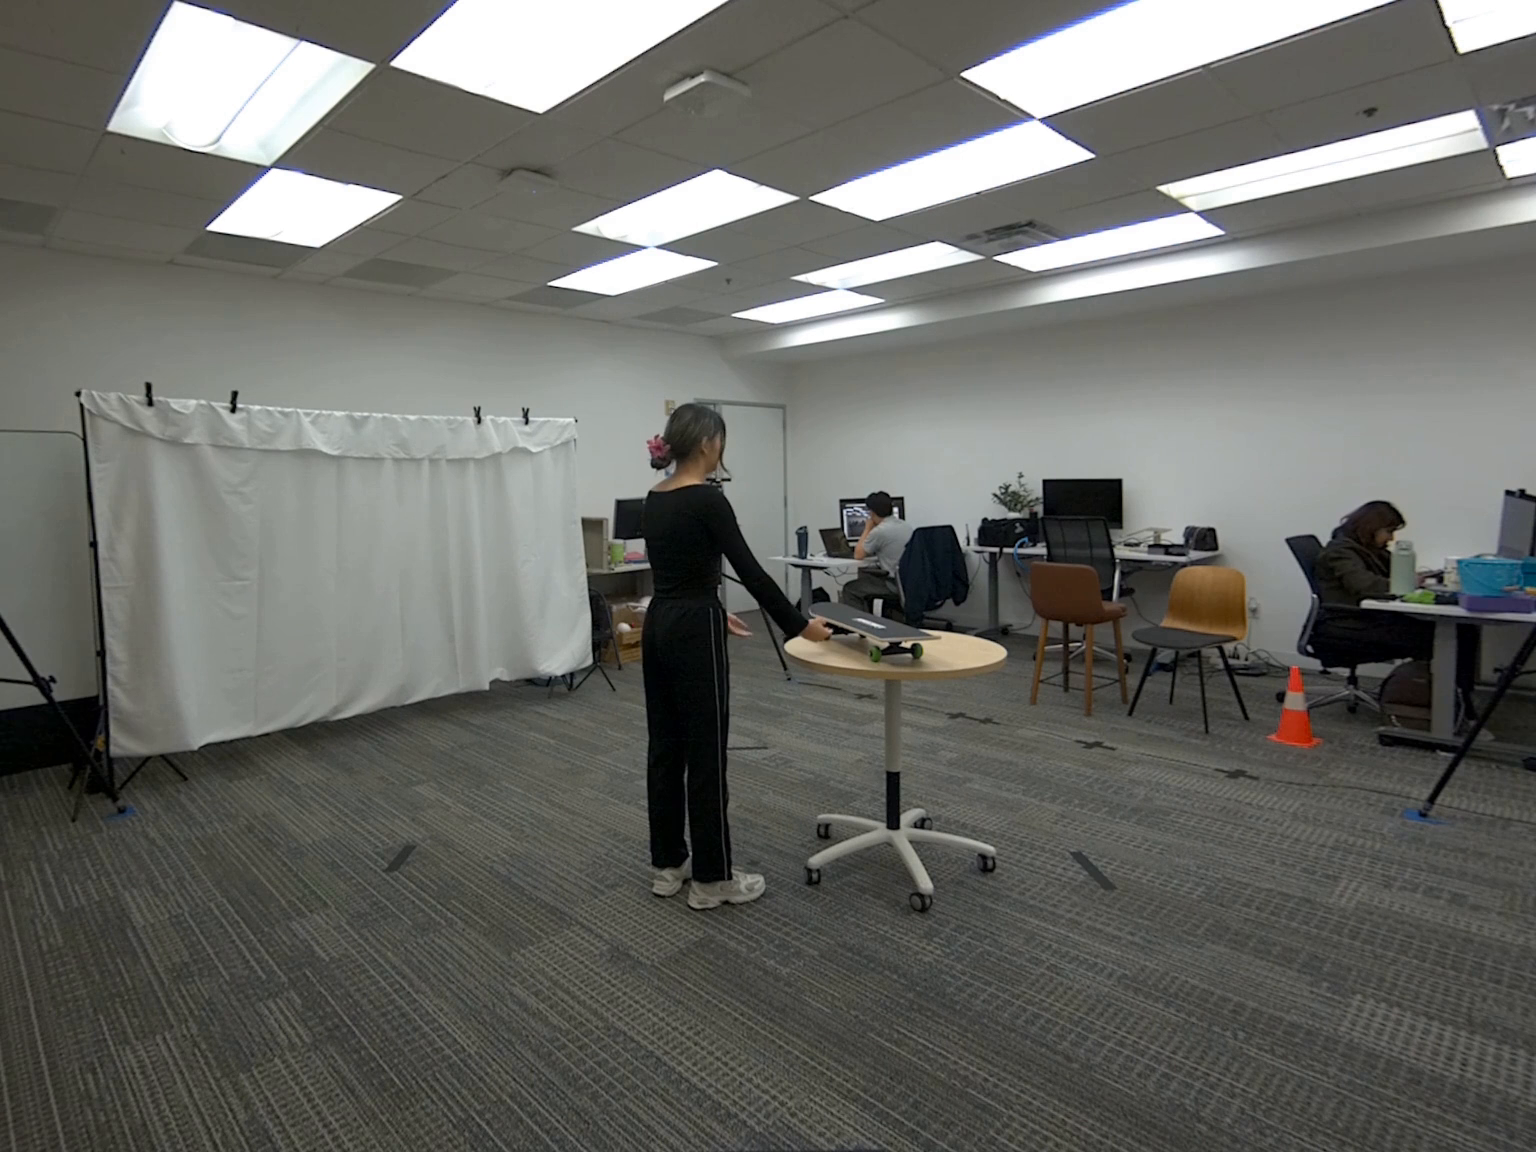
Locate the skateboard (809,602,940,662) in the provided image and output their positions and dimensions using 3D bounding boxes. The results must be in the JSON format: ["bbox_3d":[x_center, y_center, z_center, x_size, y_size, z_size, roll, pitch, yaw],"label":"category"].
[{"bbox_3d":[0.354,0.202,2.993,0.190,0.110,0.802,-2,6,-19],"label":"skateboard"}]
